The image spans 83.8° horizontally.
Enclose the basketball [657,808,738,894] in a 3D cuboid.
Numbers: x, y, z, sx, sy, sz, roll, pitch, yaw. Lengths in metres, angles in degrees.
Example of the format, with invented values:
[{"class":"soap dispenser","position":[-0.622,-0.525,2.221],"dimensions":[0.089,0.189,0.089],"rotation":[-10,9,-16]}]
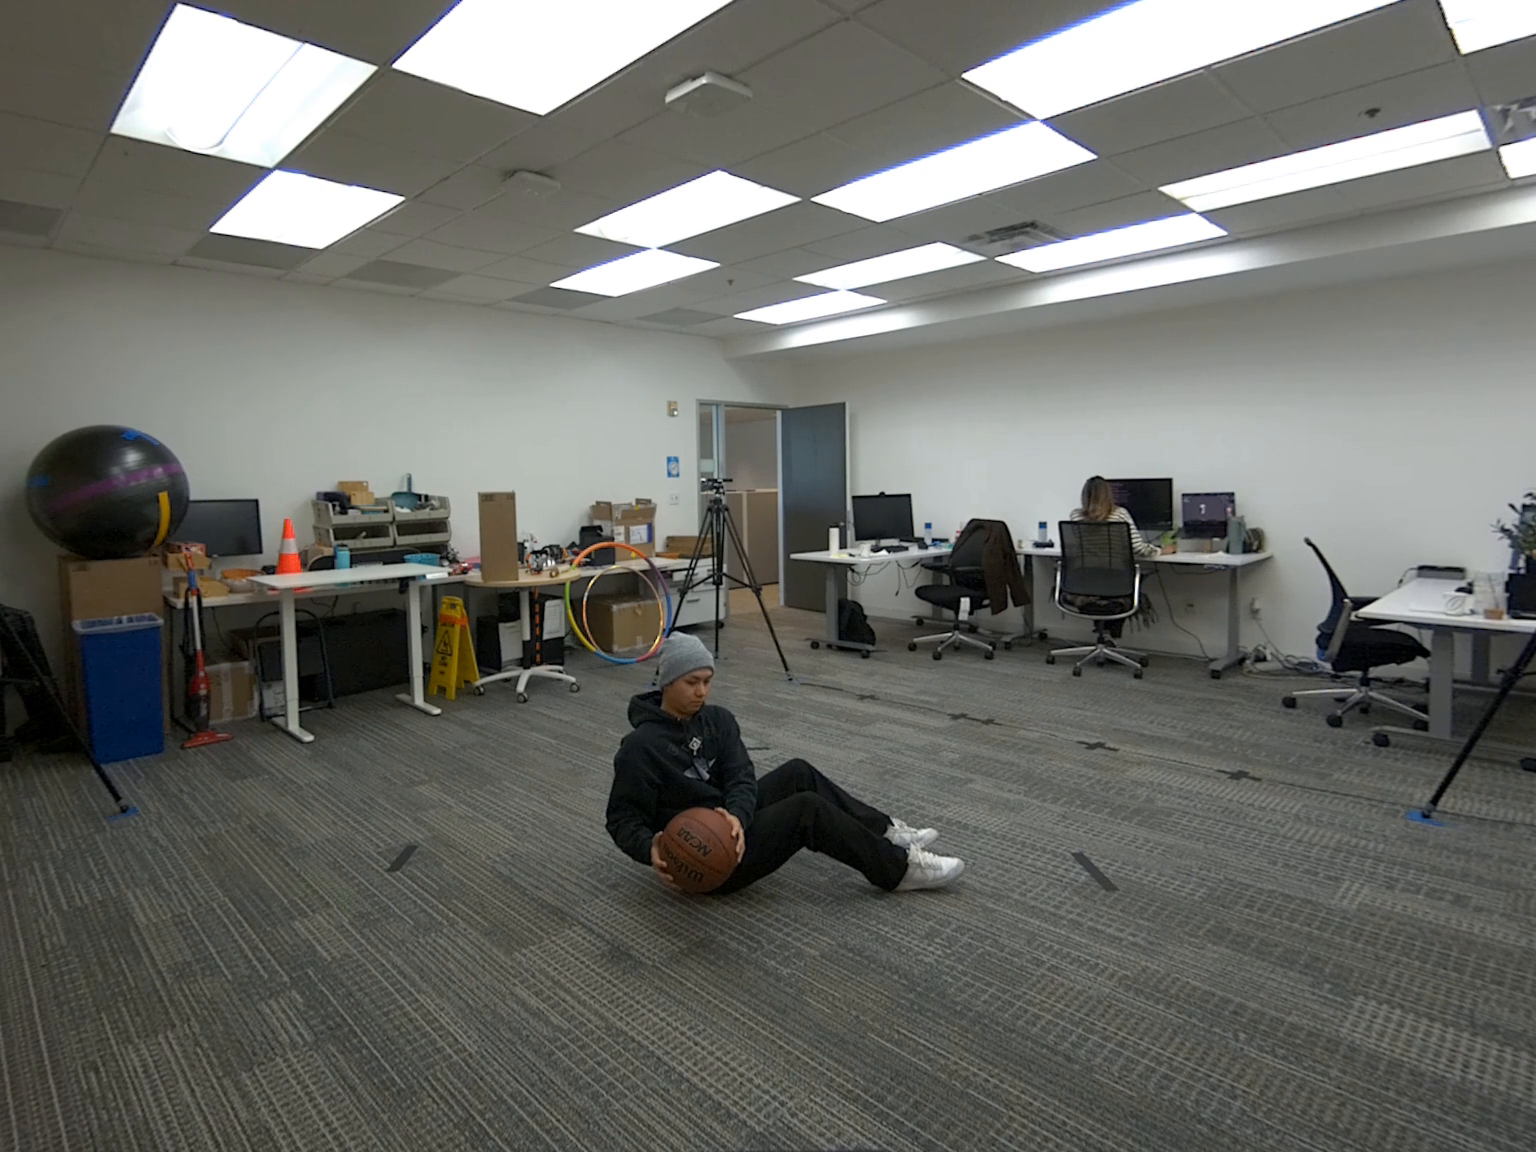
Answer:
[{"class":"basketball","position":[-0.195,0.820,2.580],"dimensions":[0.236,0.235,0.237],"rotation":[-1,5,-2]}]
